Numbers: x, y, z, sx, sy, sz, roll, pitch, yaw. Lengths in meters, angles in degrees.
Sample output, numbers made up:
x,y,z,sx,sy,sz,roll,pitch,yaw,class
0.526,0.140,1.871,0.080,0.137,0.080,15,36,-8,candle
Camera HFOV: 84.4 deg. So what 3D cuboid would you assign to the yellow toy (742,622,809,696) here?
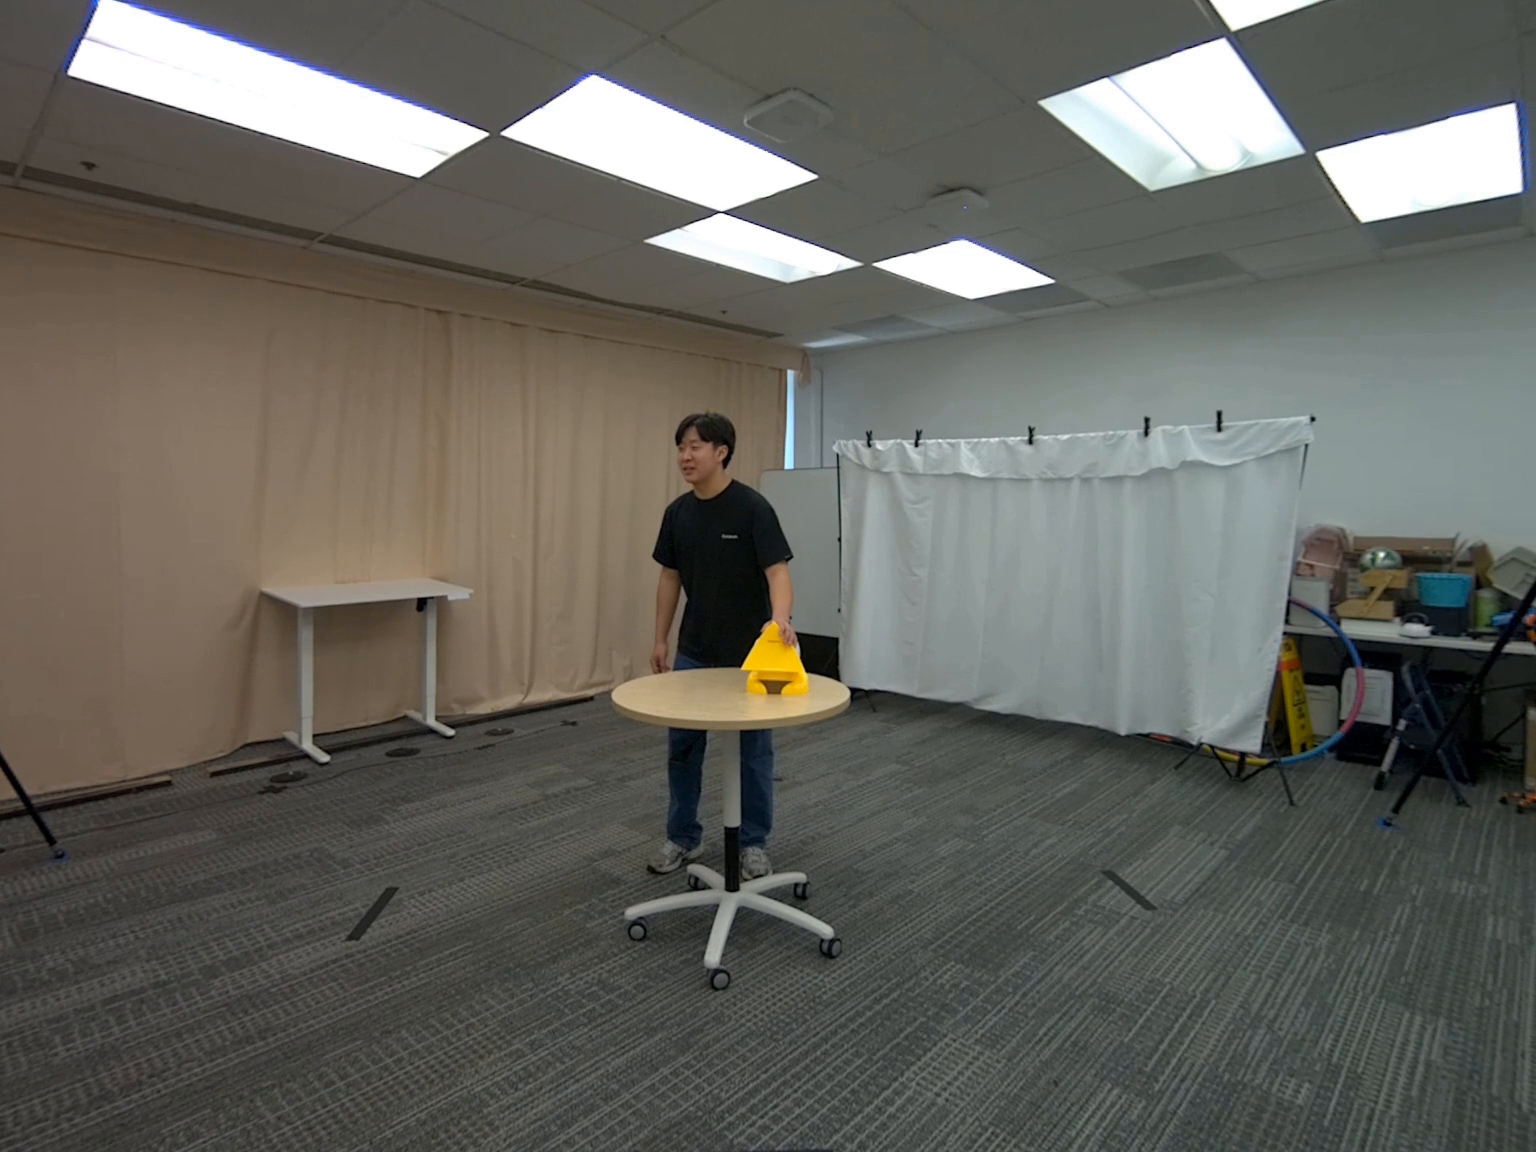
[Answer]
x,y,z,sx,sy,sz,roll,pitch,yaw,class
0.030,0.254,2.721,0.208,0.230,0.191,2,3,12,yellow toy
